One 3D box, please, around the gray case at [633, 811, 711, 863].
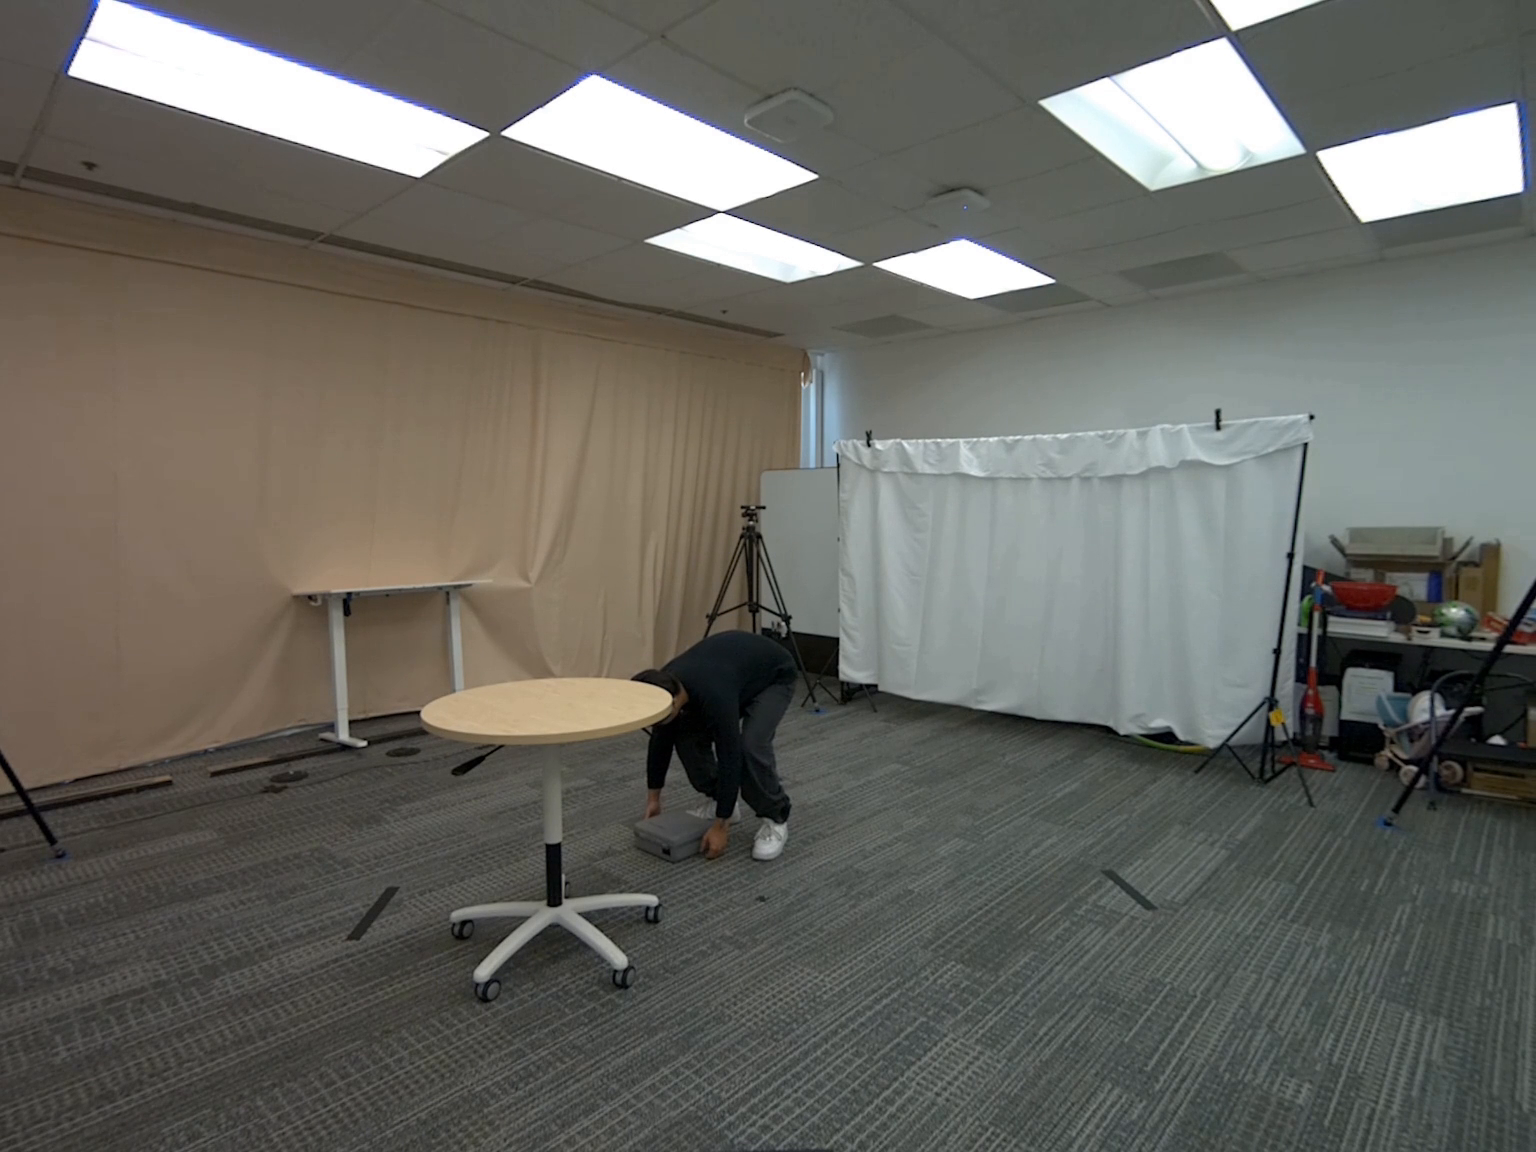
[{"bbox_3d":[-0.379,1.051,3.448,0.265,0.104,0.253,1,4,42],"label":"gray case"}]
